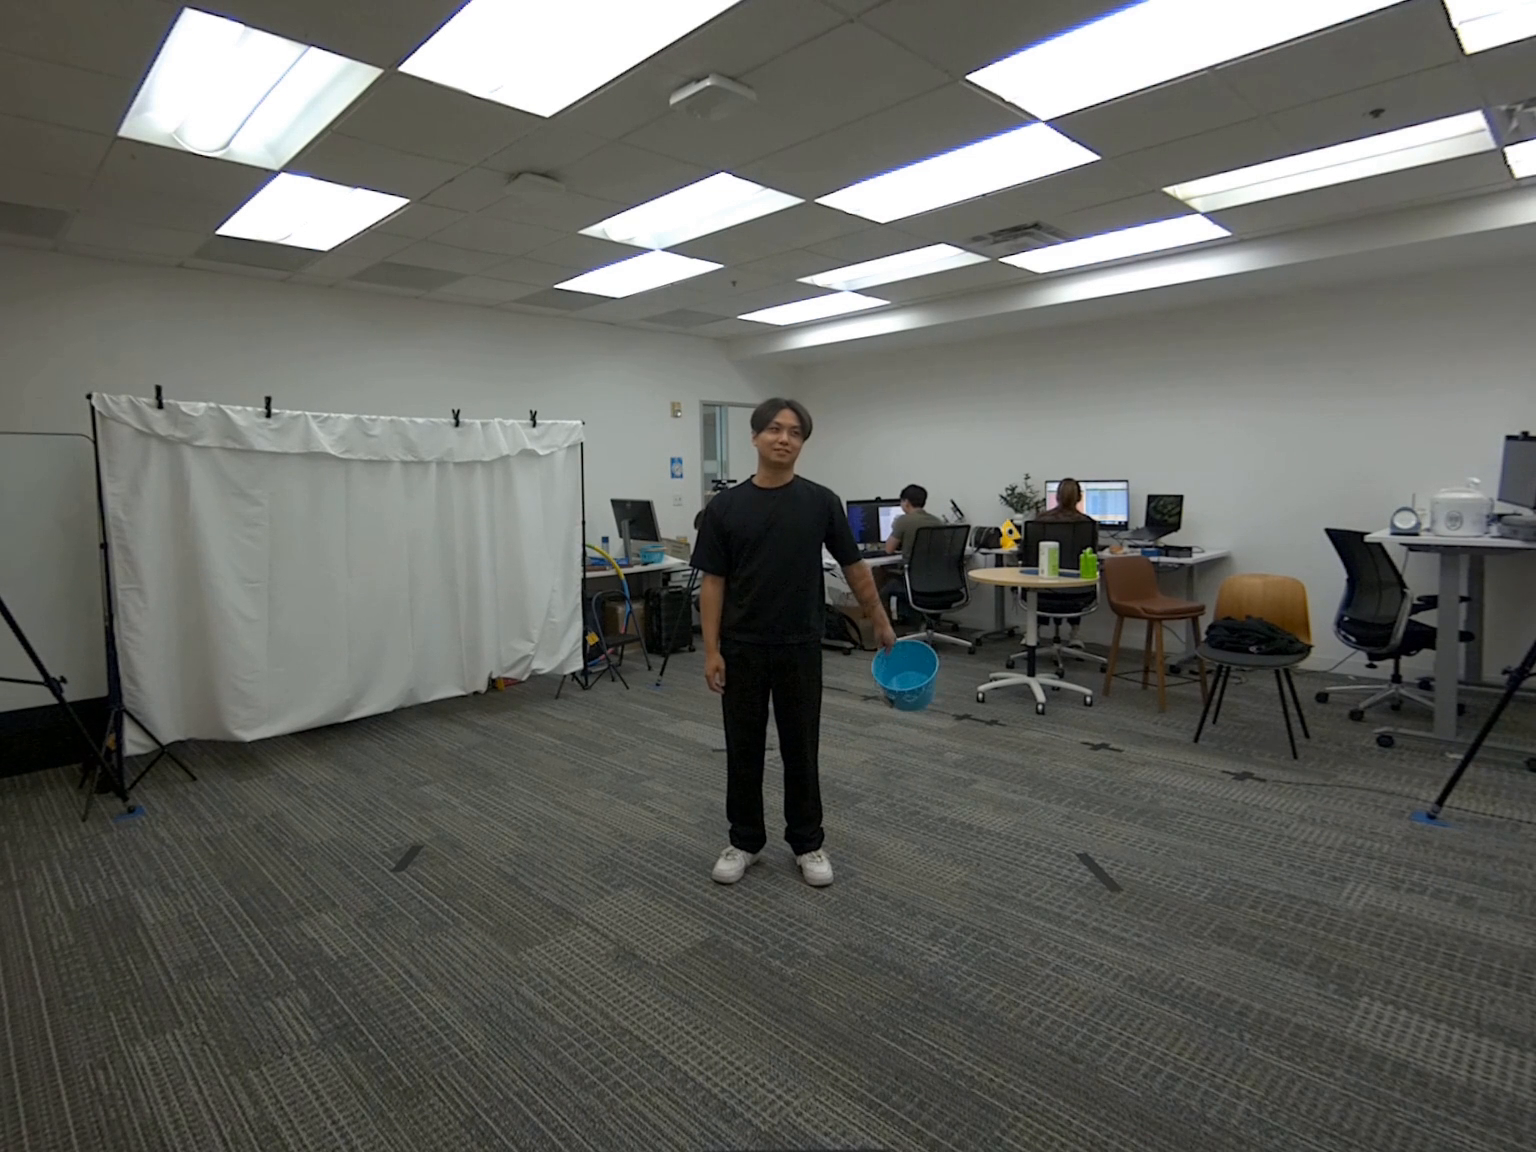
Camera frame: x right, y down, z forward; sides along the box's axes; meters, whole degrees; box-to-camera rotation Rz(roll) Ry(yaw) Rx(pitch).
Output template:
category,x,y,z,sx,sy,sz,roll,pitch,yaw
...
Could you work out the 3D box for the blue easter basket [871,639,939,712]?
category,x,y,z,sx,sy,sz,roll,pitch,yaw
blue easter basket,0.487,0.365,3.049,0.245,0.150,0.250,-13,39,9
